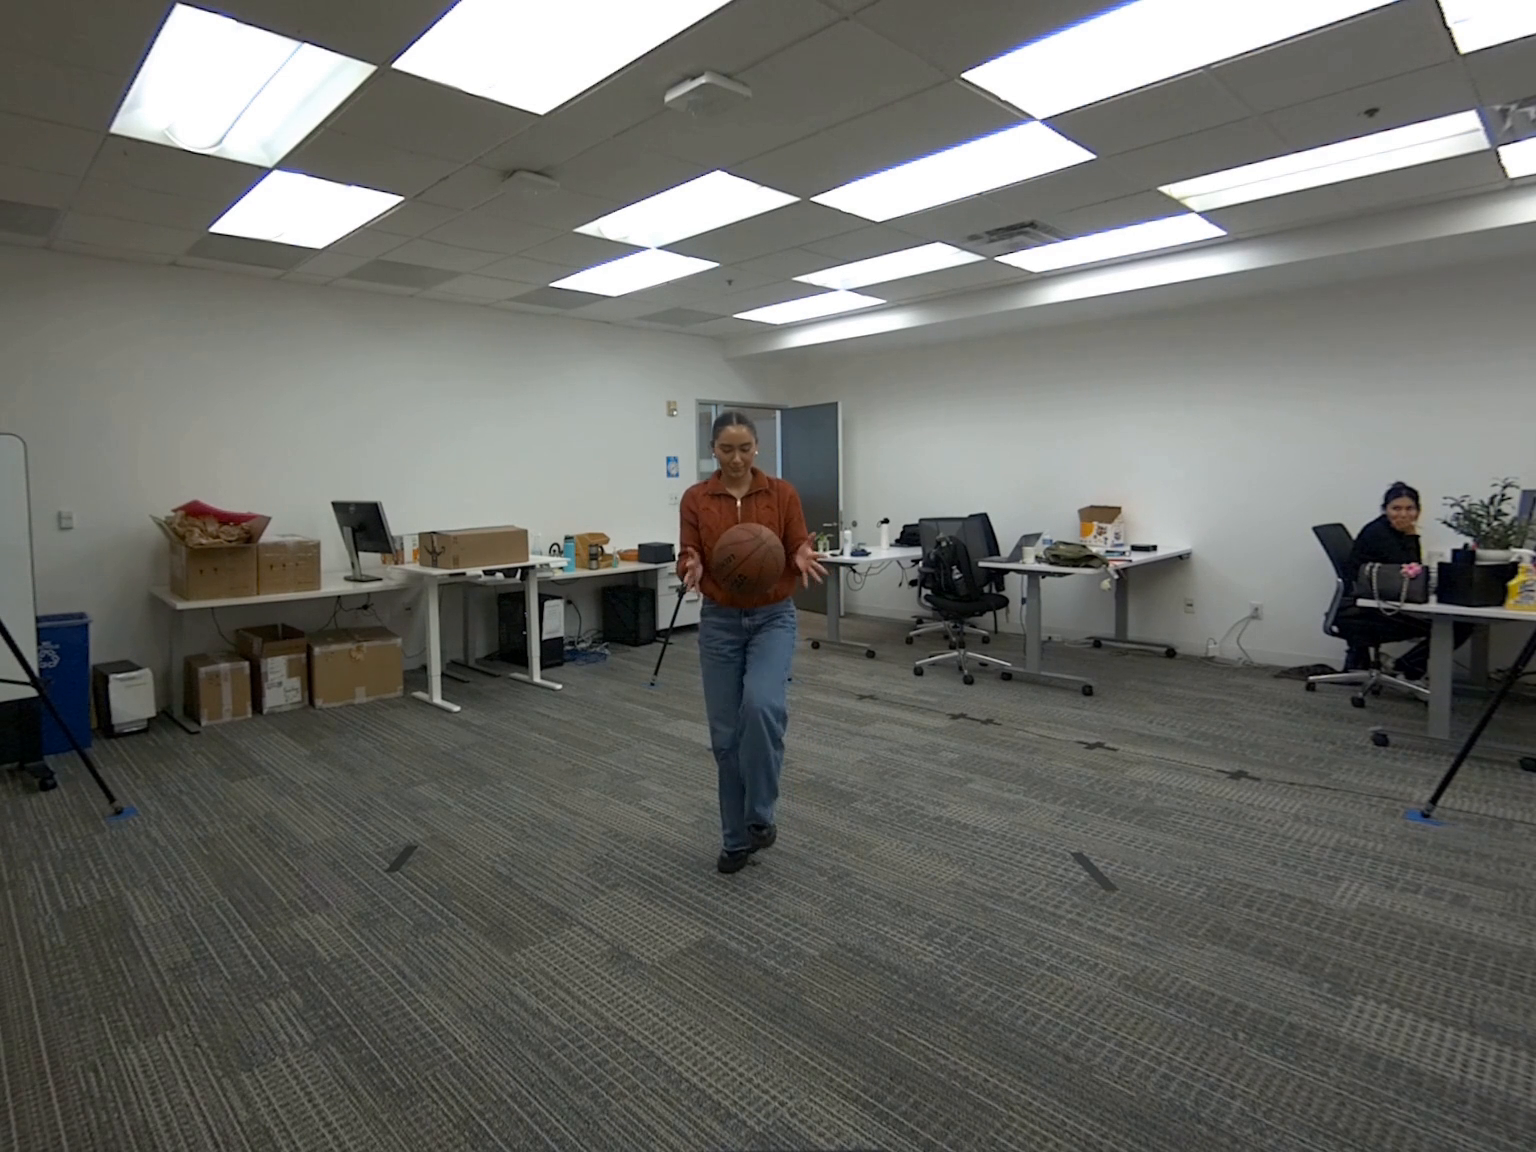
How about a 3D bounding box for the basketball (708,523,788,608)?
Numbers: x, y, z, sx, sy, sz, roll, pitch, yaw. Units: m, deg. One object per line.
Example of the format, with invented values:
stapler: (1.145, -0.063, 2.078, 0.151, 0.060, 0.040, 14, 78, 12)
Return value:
basketball: (-0.067, -0.020, 2.782, 0.236, 0.235, 0.237, -1, 5, -2)
